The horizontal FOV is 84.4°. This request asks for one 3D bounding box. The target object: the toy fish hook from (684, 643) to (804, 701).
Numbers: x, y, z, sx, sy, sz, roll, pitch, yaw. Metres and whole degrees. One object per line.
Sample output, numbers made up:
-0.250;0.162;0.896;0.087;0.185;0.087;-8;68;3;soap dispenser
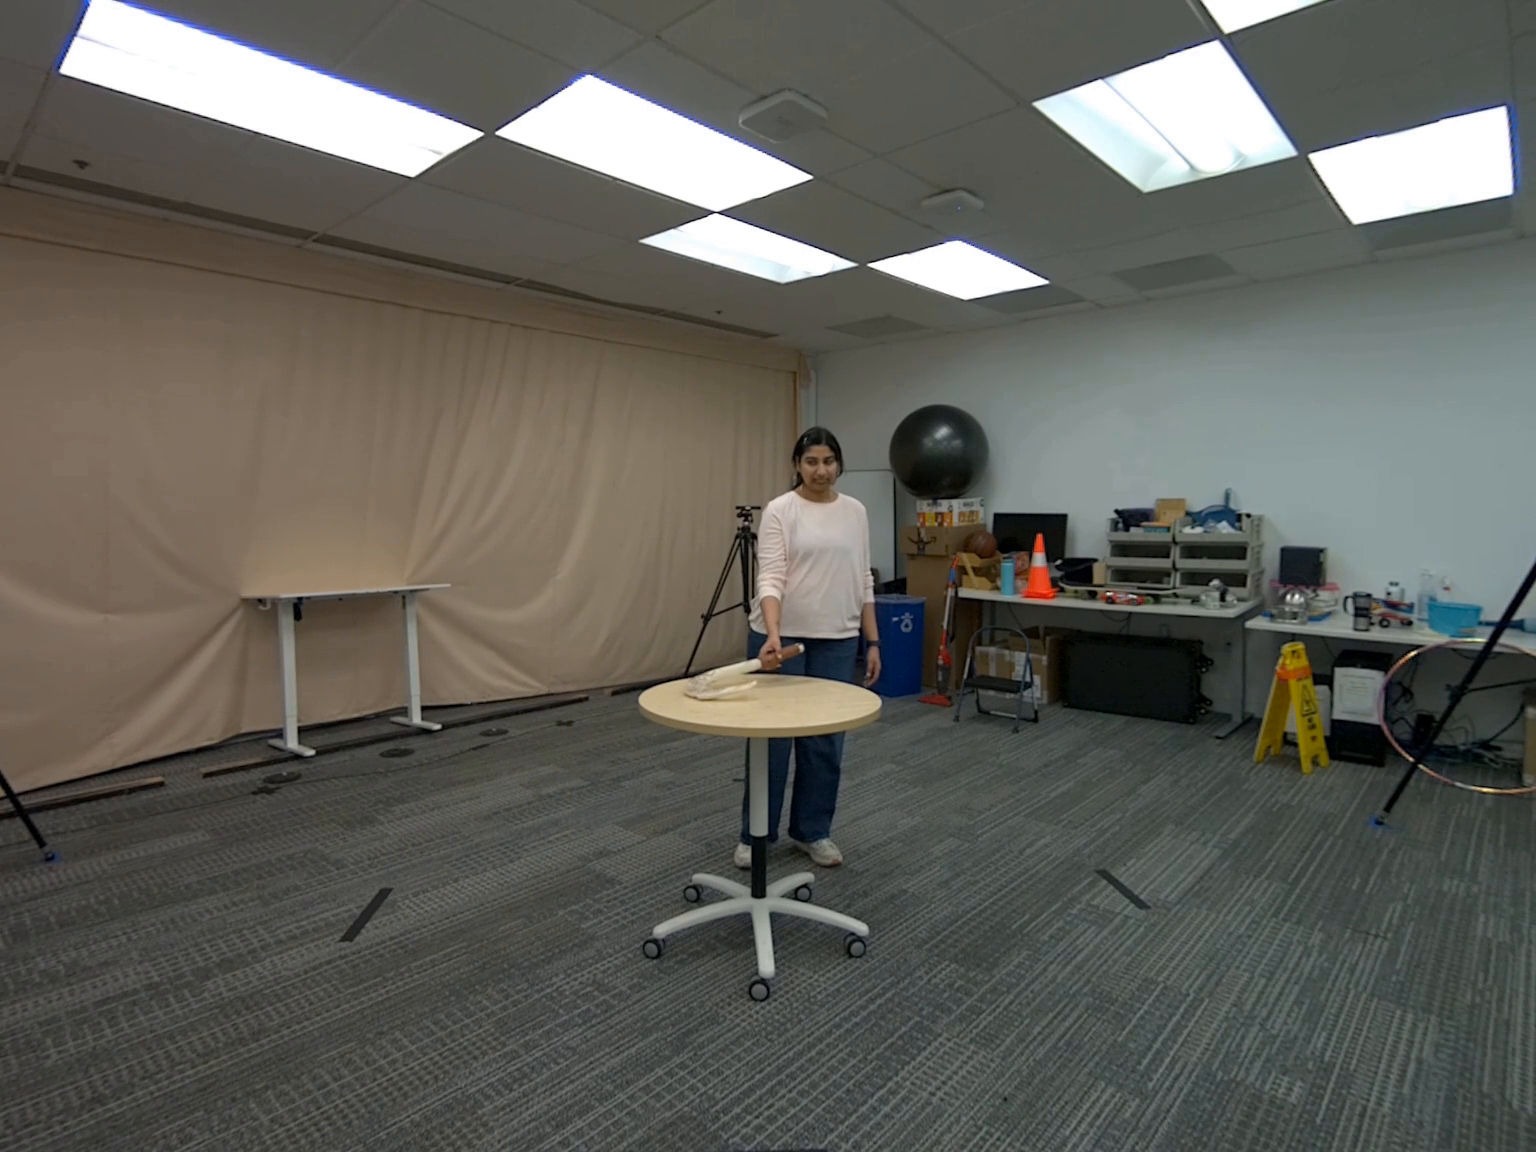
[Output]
-0.037;0.326;2.788;0.495;0.048;0.232;-16;17;-32;toy fish hook
